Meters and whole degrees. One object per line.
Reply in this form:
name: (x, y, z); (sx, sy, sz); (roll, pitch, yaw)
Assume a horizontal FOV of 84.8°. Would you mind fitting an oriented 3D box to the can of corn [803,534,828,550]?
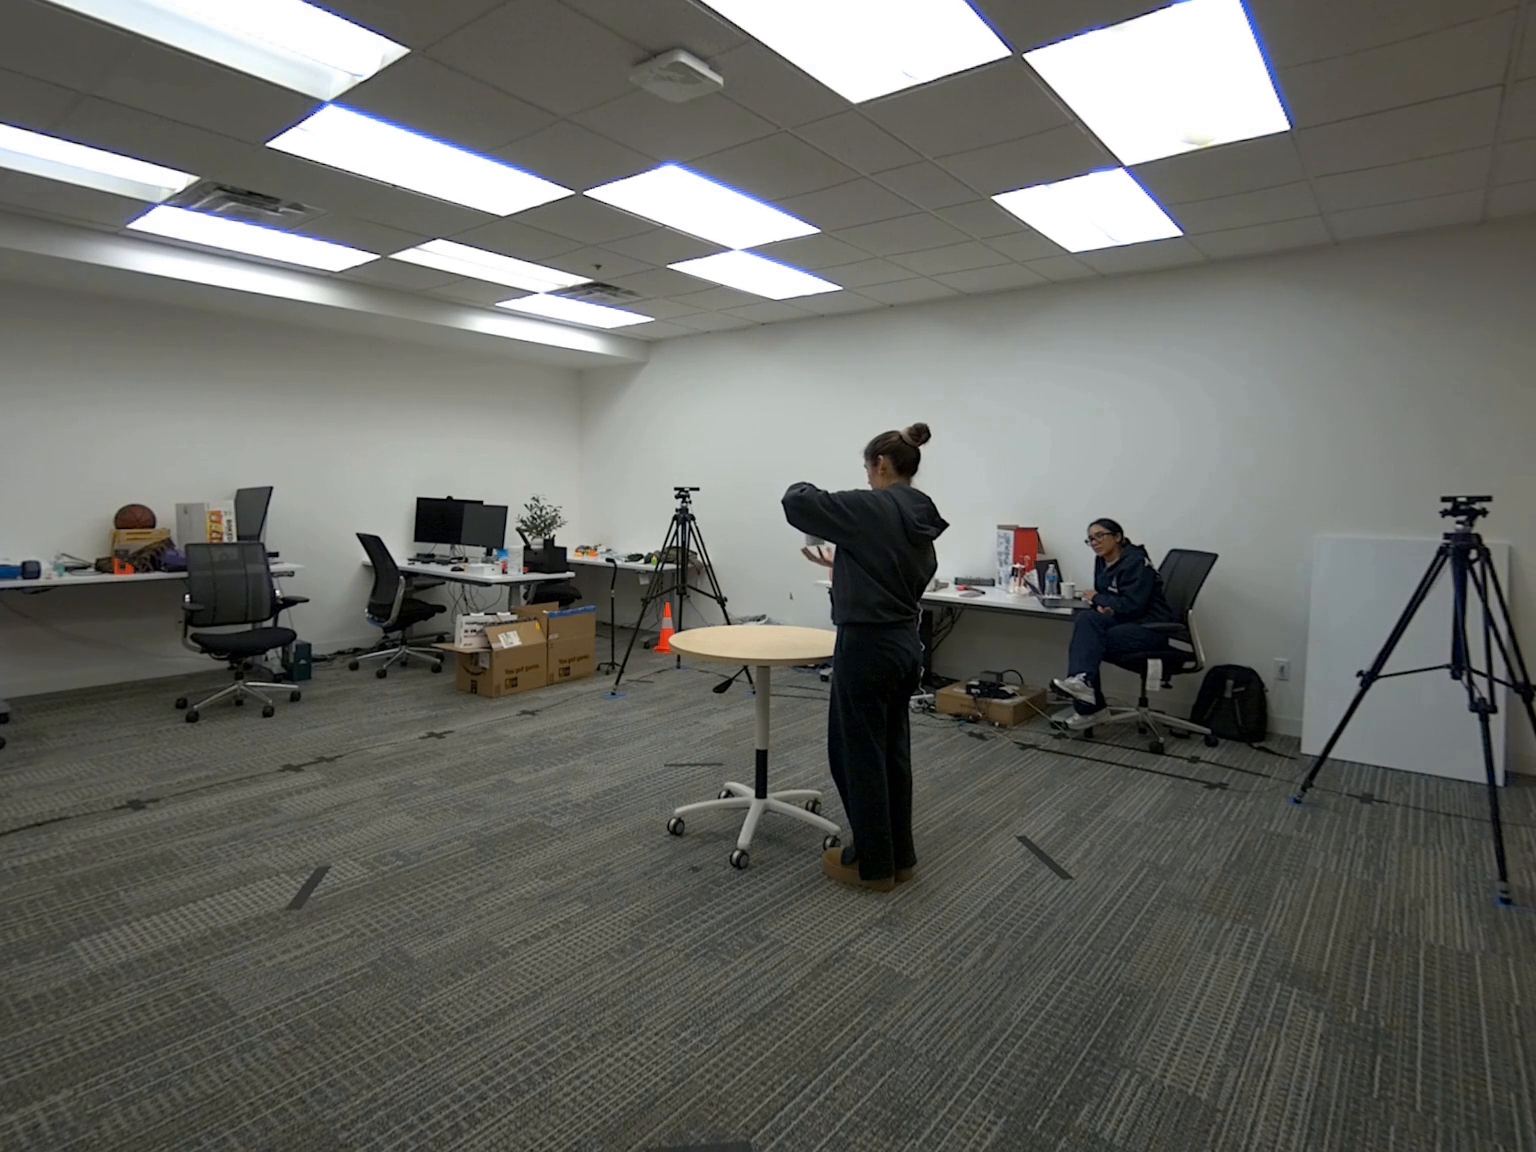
can of corn: (0.185, -0.190, 3.222); (0.074, 0.111, 0.074); (-2, 2, -2)
